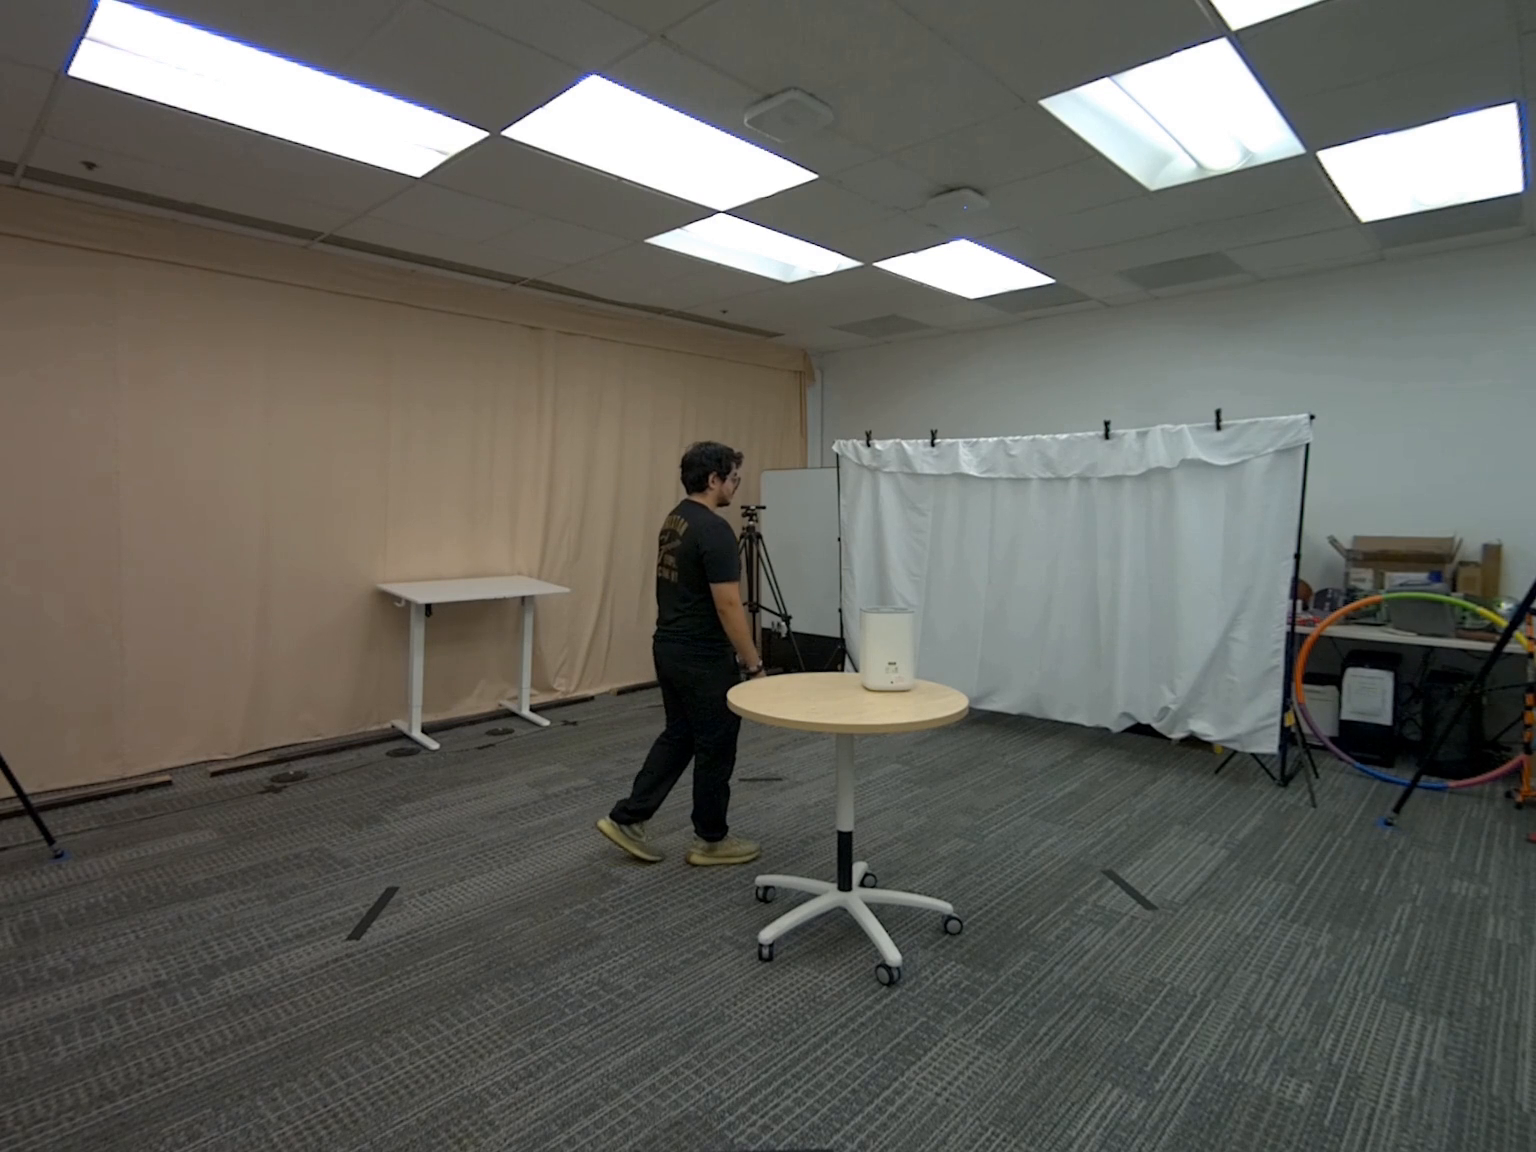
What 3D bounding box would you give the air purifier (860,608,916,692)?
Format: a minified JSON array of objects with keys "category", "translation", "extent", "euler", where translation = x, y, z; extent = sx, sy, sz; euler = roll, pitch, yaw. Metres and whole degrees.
[{"category":"air purifier","translation":[0.404,0.239,2.815],"extent":[0.171,0.265,0.172],"euler":[-3,3,-2]}]
